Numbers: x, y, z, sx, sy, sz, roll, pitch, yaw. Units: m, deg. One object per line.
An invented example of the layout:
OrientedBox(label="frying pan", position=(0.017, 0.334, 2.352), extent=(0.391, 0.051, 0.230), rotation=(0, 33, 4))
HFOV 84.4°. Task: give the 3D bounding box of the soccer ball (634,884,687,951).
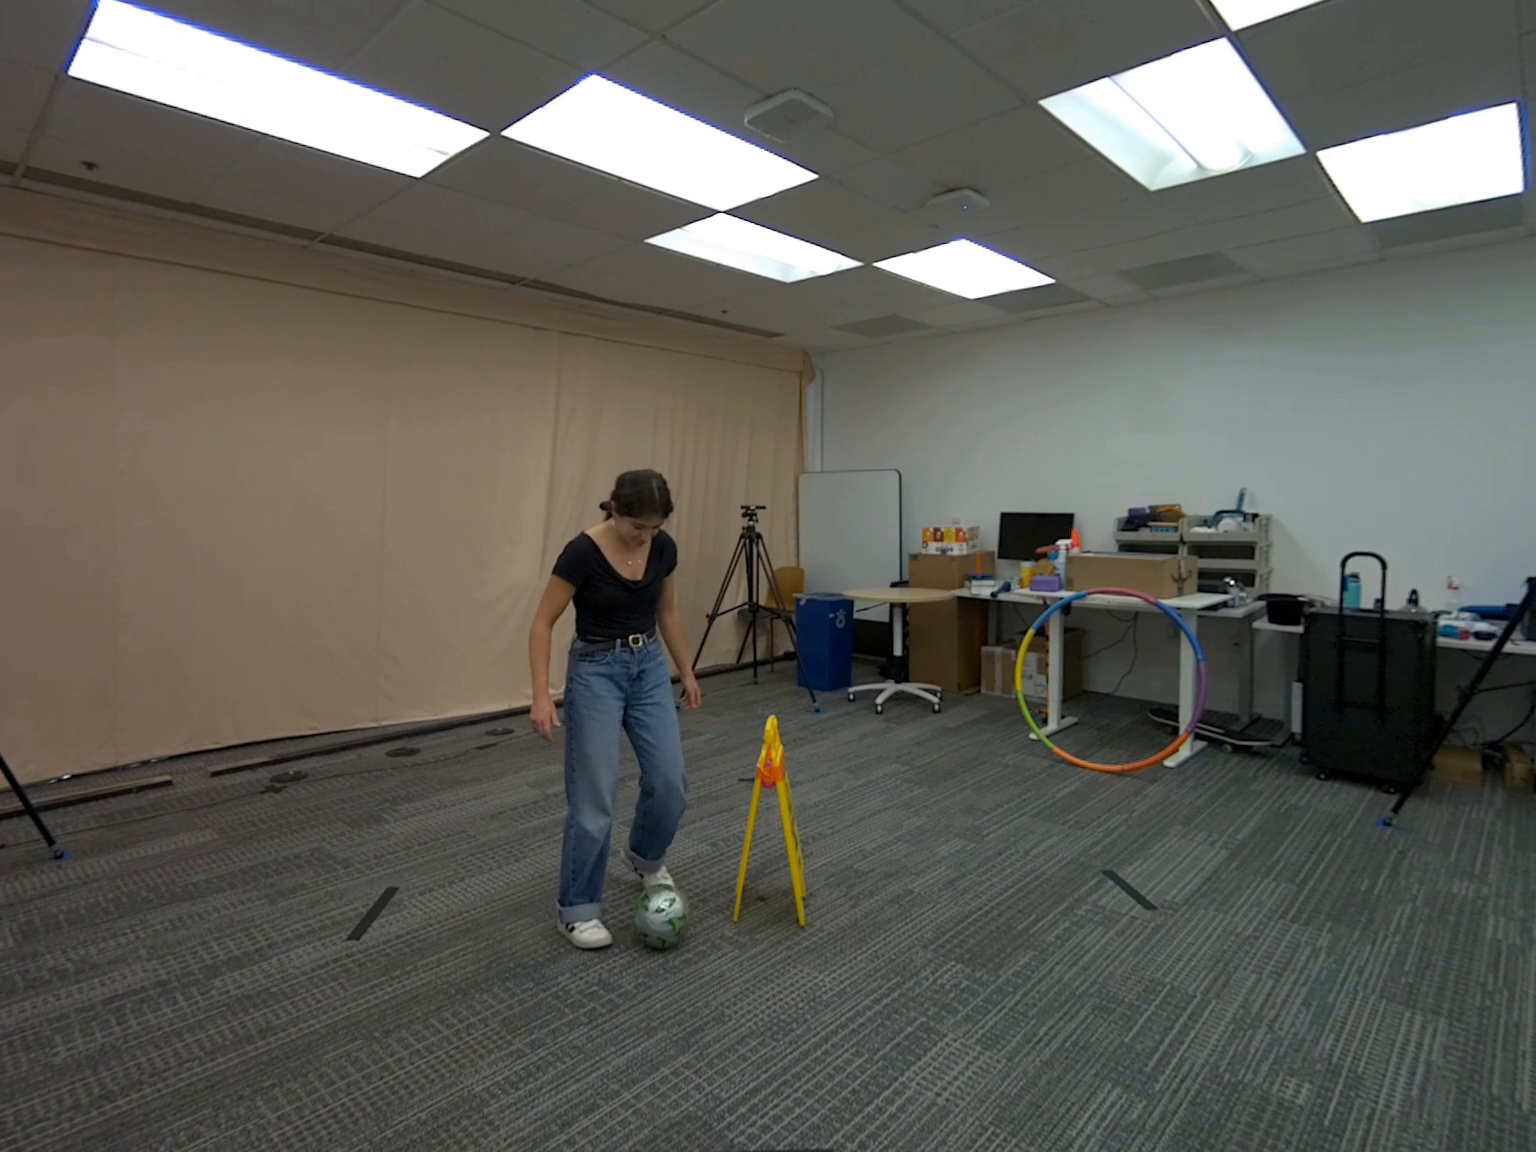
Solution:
OrientedBox(label="soccer ball", position=(-0.336, 1.071, 2.668), extent=(0.187, 0.187, 0.188), rotation=(0, 4, -2))
